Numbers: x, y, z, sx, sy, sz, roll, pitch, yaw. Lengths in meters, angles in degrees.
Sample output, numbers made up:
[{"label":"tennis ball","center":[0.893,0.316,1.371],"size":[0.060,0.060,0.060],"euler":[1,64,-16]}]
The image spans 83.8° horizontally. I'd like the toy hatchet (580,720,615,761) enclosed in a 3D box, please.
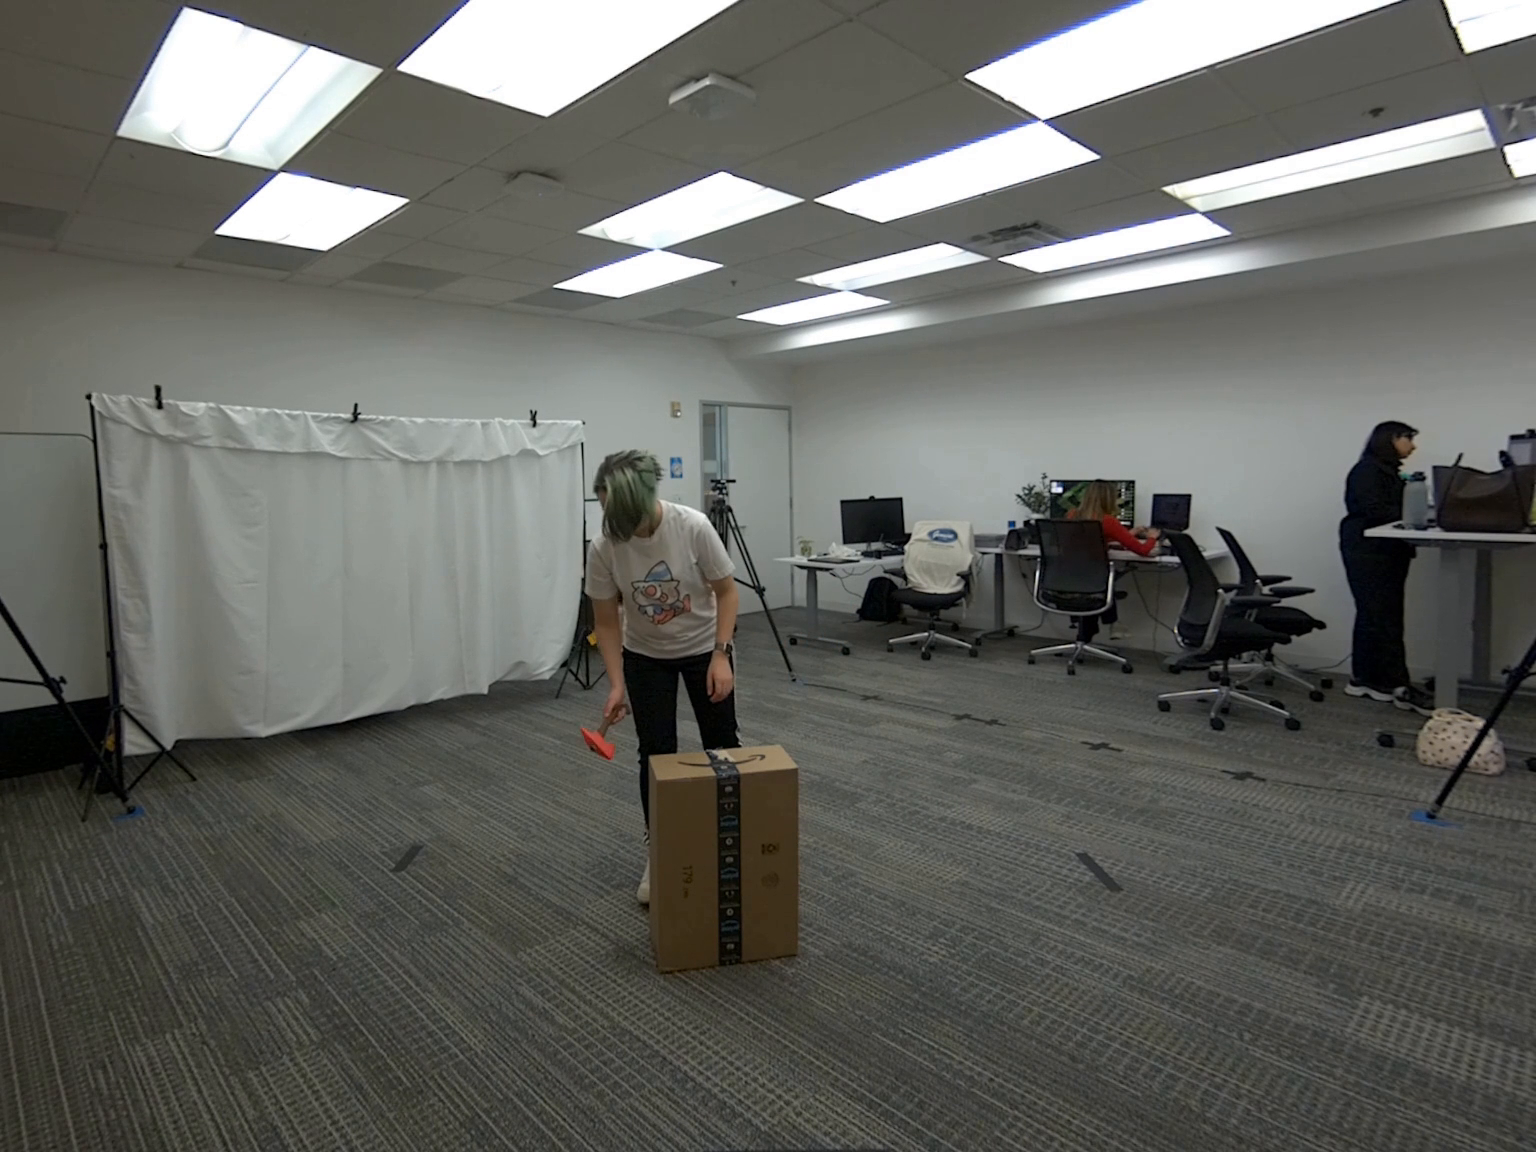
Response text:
[{"label":"toy hatchet","center":[-0.473,0.475,2.629],"size":[0.030,0.132,0.265],"euler":[-36,-8,25]}]
